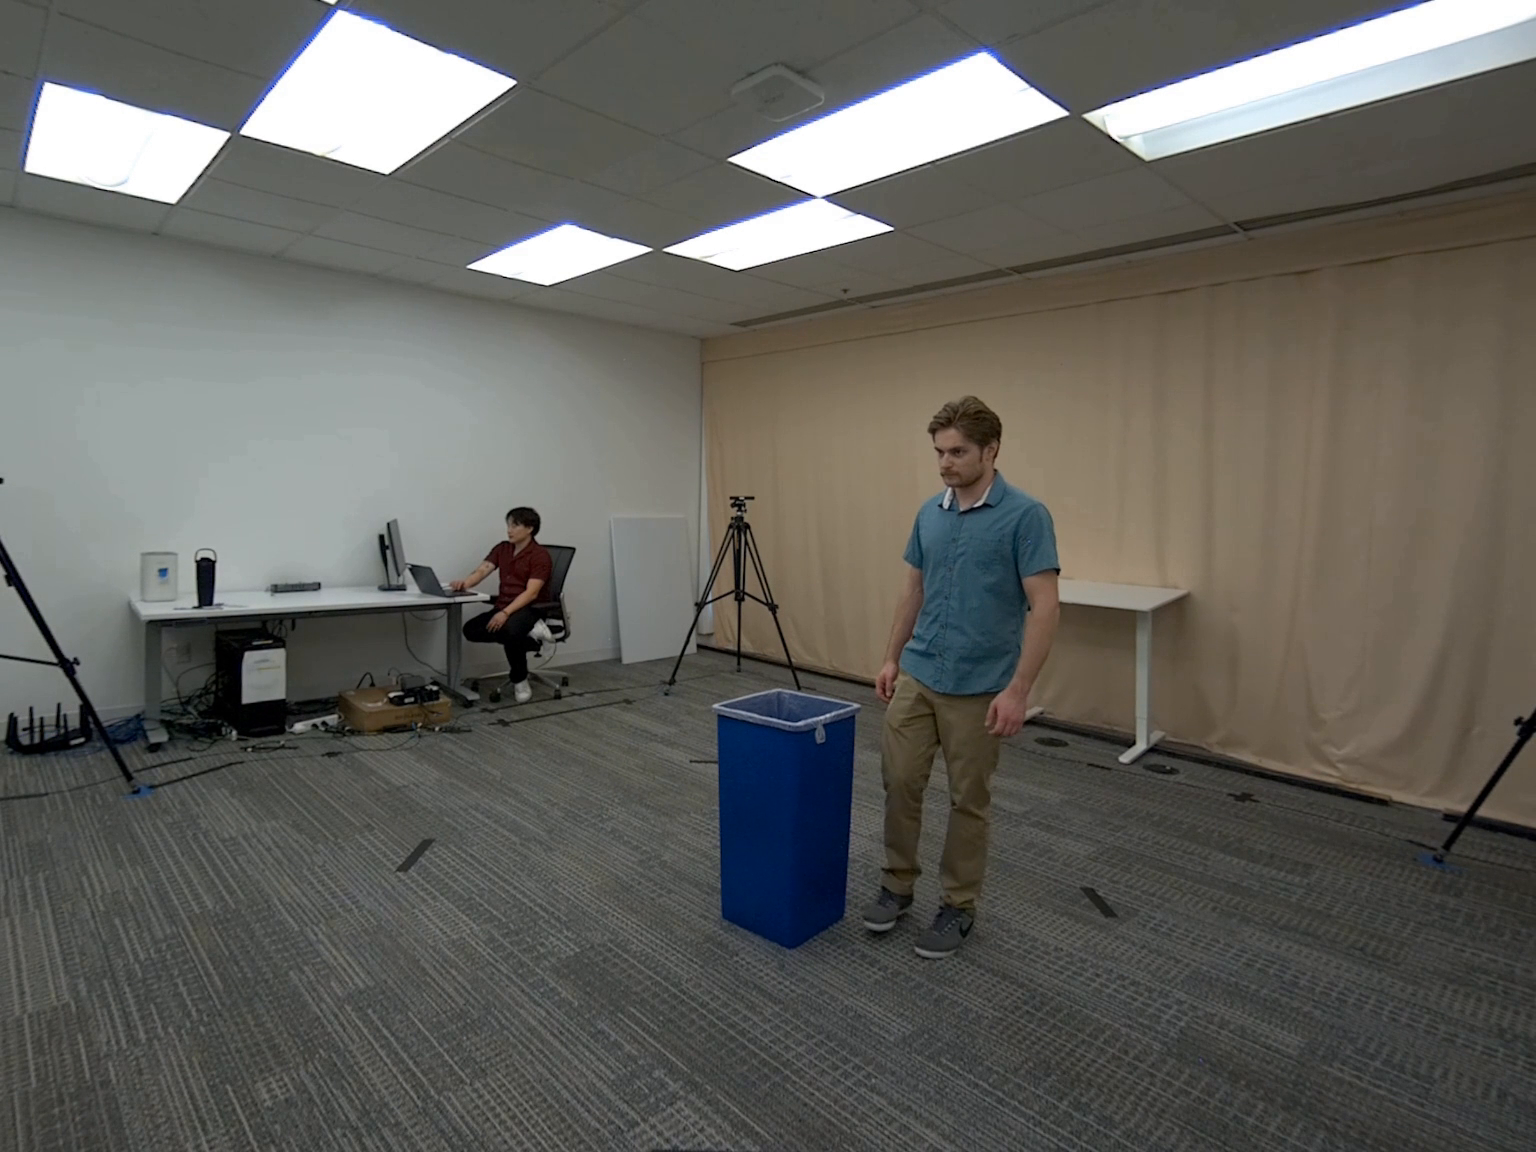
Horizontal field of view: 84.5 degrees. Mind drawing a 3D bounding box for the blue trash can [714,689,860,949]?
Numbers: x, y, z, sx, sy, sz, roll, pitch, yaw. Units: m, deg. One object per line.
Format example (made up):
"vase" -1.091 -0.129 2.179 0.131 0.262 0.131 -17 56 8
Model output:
"blue trash can" 0.041 0.778 2.793 0.383 0.712 0.369 4 4 40
